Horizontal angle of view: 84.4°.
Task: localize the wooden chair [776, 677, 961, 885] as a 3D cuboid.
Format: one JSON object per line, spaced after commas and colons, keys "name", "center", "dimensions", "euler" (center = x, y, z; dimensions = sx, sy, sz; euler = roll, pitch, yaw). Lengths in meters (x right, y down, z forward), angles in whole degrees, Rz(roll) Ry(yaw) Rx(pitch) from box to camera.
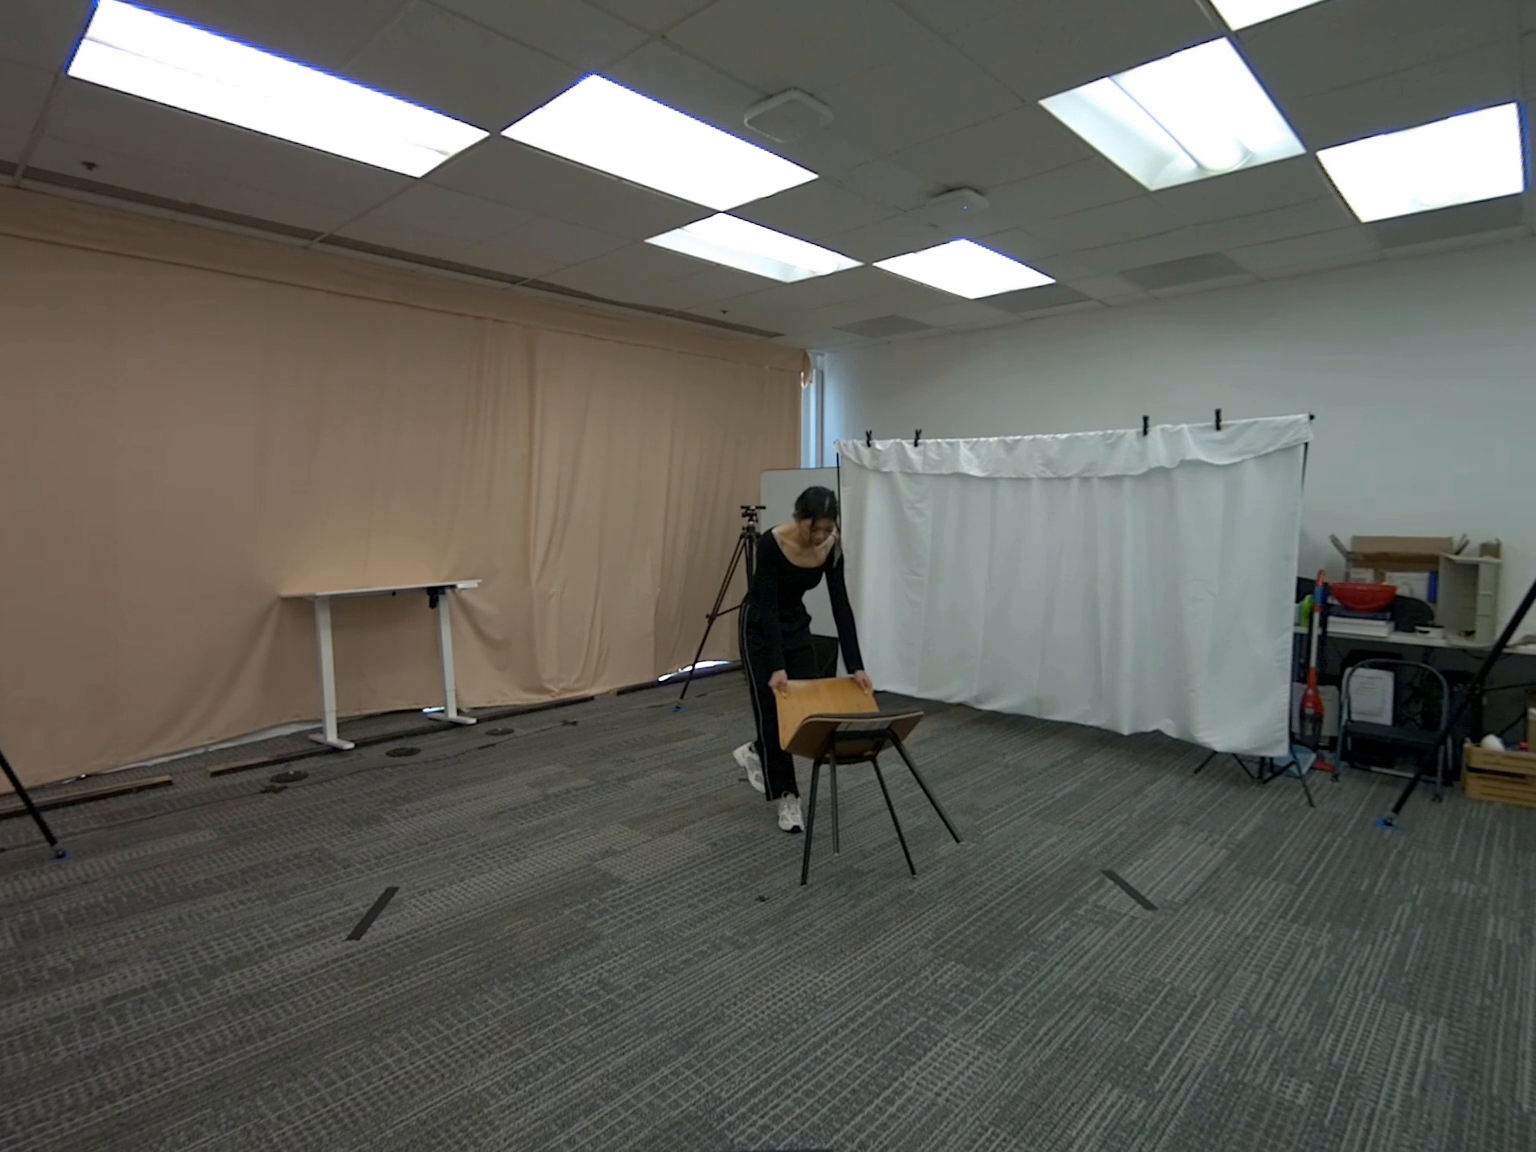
{"name": "wooden chair", "center": [0.328, 0.643, 3.156], "dimensions": [0.472, 0.898, 0.517], "euler": [-1, -38, -13]}
